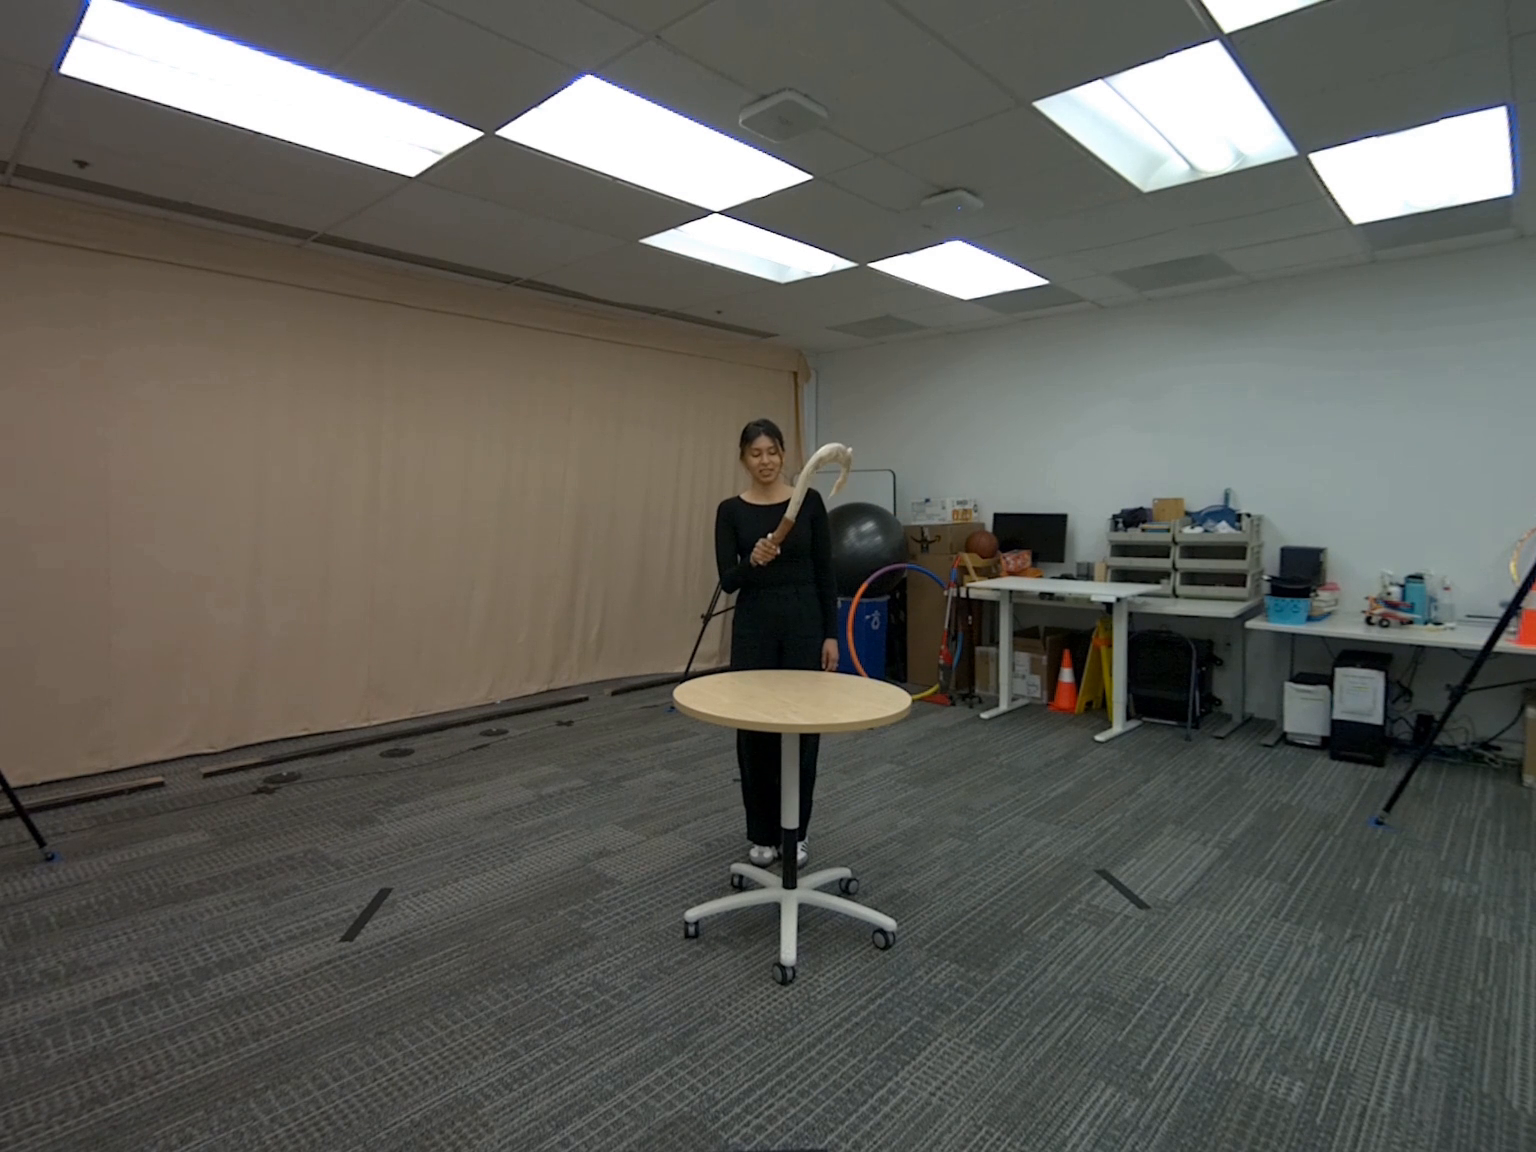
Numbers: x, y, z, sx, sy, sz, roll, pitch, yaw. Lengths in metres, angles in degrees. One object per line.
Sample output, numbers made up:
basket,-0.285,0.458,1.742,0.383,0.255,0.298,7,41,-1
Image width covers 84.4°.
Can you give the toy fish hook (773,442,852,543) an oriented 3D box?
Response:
toy fish hook,0.135,-0.232,2.961,0.217,0.507,0.050,13,27,-44
